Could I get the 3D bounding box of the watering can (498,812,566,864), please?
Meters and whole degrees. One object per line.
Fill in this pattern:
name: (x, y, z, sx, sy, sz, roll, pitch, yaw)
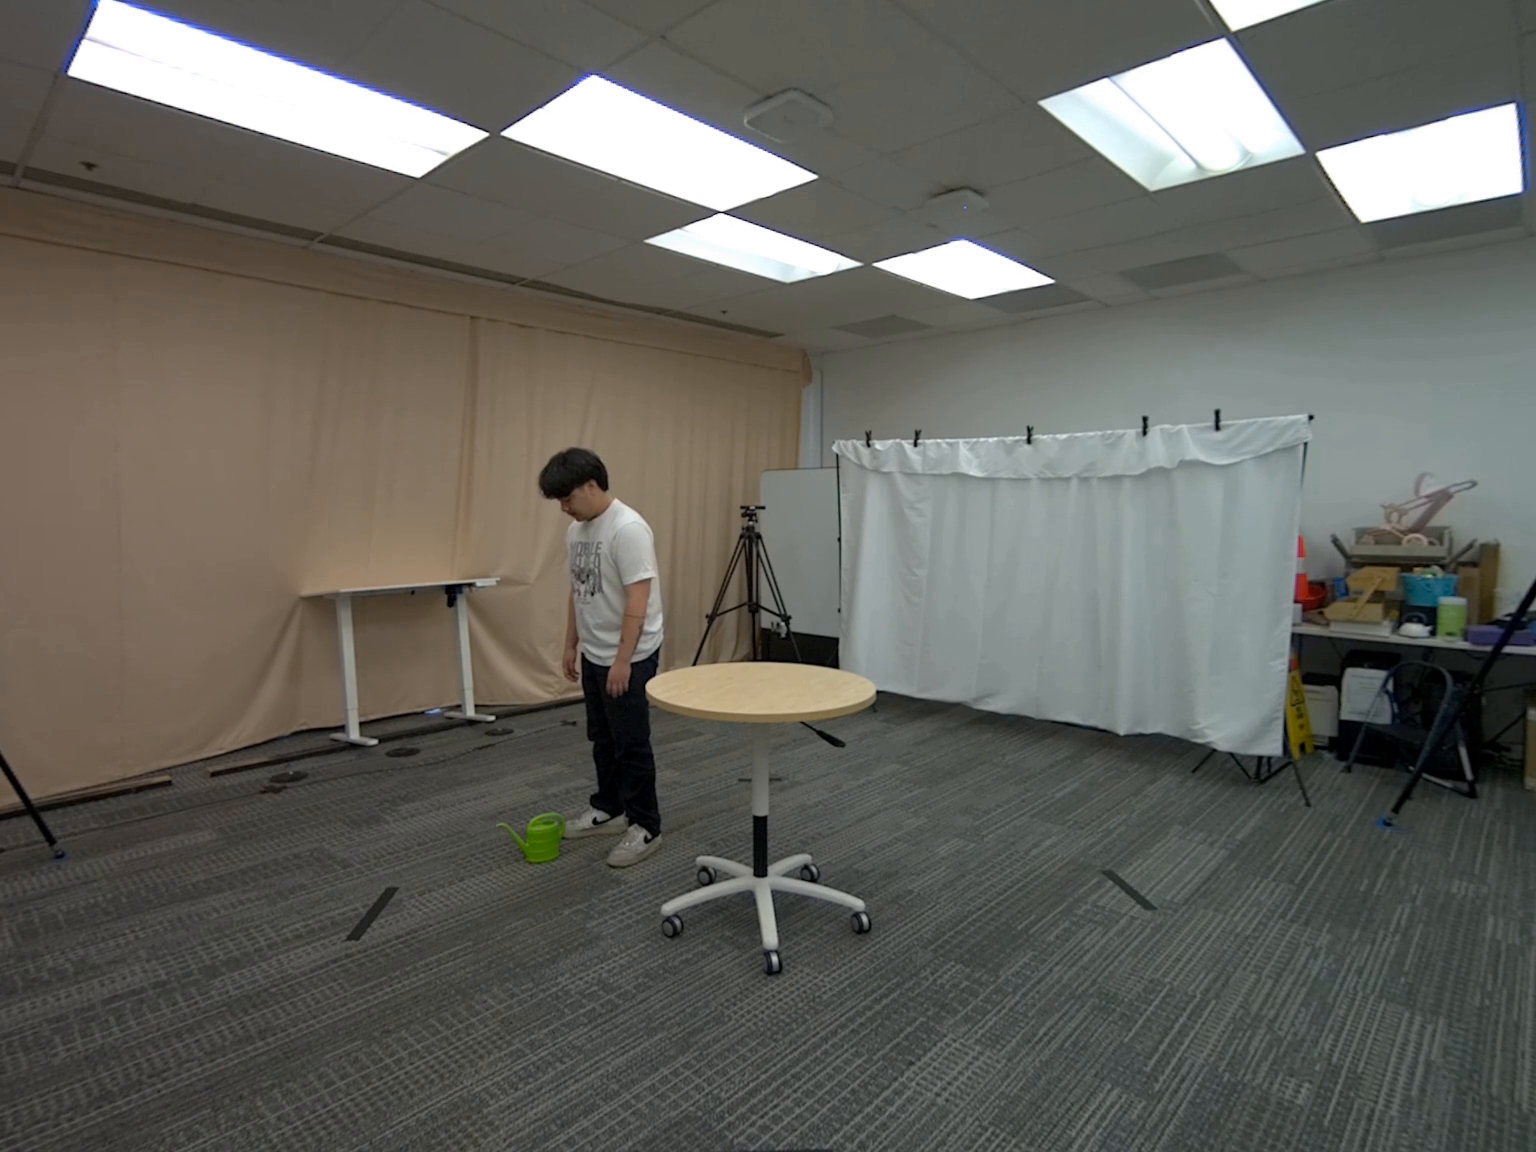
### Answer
watering can: (-0.941, 1.035, 3.331, 0.273, 0.177, 0.100, 0, 1, -19)
